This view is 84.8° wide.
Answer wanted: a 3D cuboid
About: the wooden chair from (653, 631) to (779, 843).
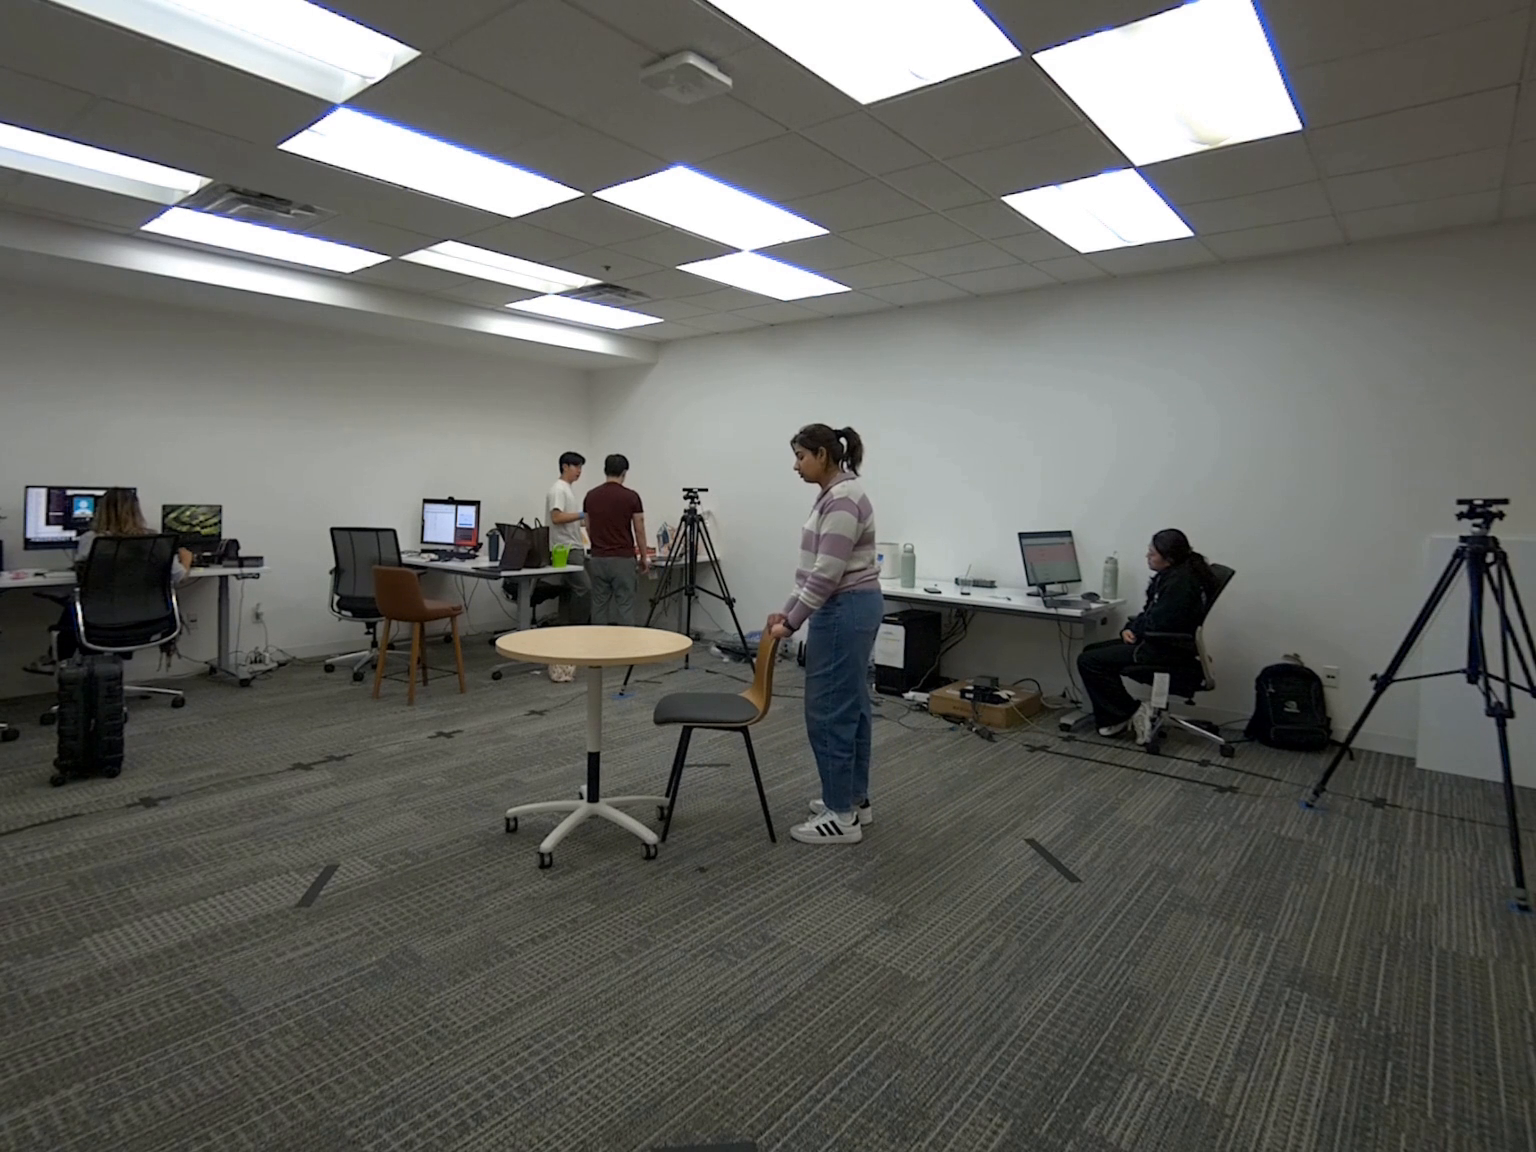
[{"bbox_3d":[-0.224,0.599,3.539,0.521,0.875,0.481,4,4,-4],"label":"wooden chair"}]
